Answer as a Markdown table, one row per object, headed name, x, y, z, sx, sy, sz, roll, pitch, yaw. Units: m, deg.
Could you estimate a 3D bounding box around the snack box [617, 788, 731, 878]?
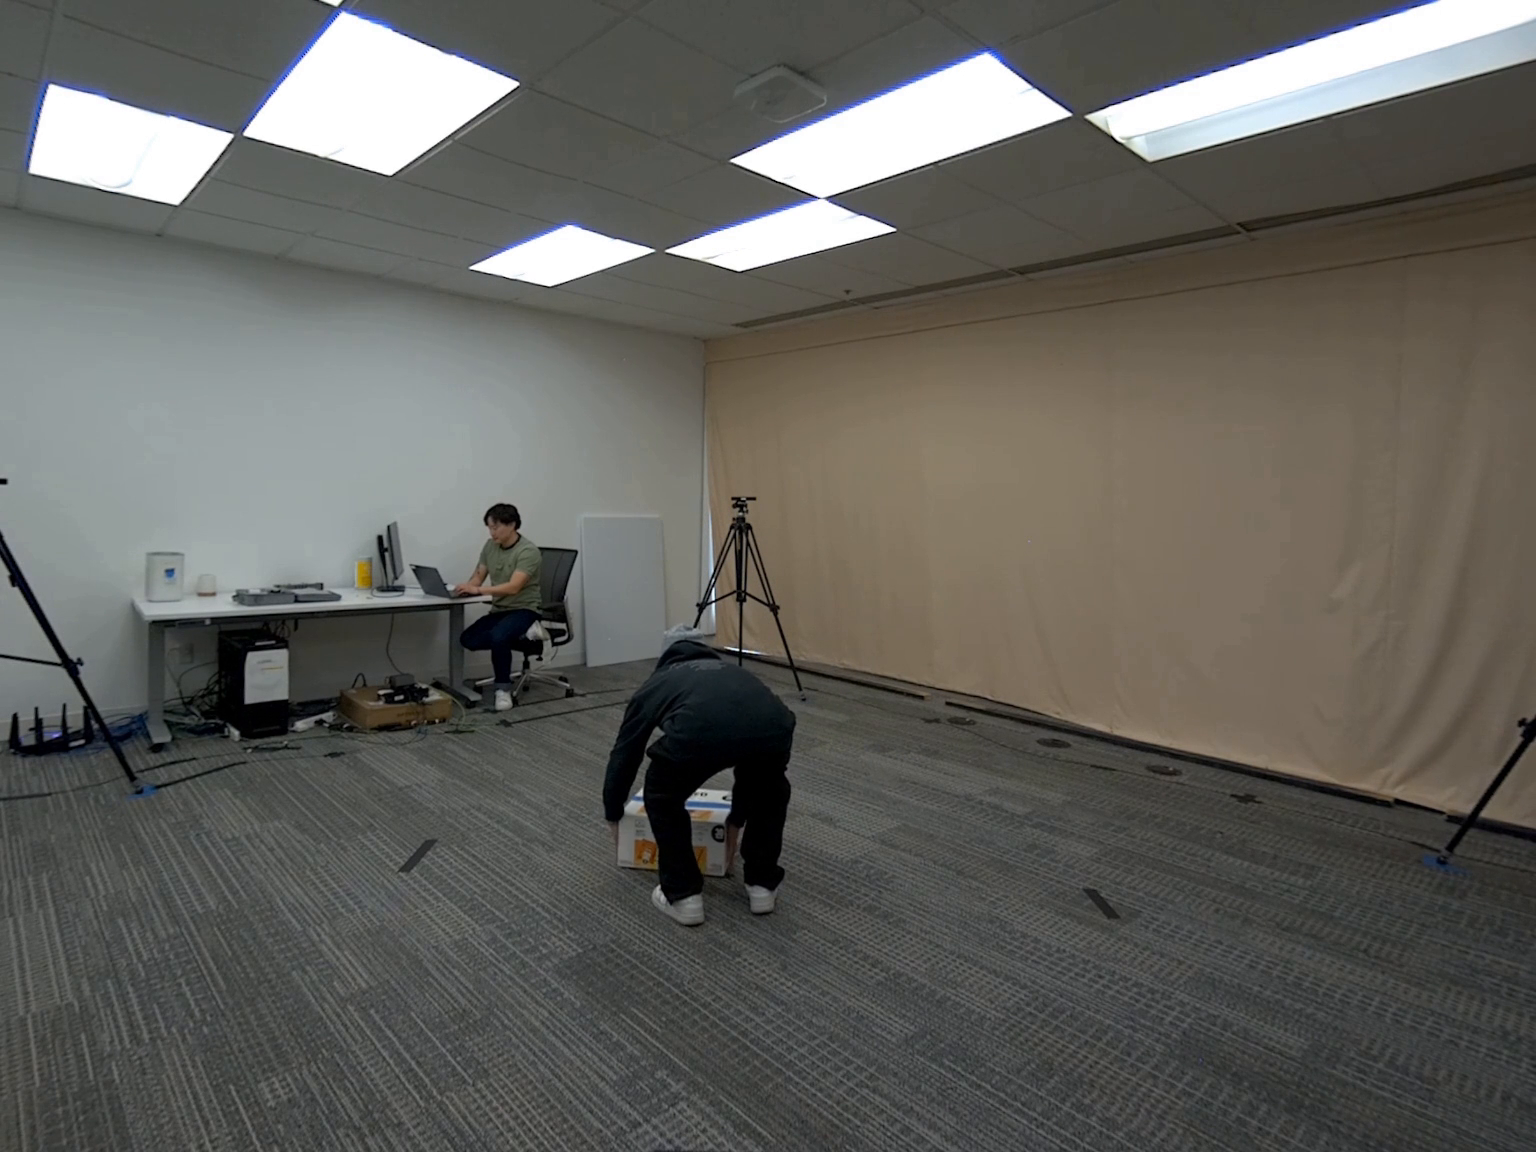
| name | x | y | z | sx | sy | sz | roll | pitch | yaw |
| --- | --- | --- | --- | --- | --- | --- | --- | --- | --- |
| snack box | -0.340 | 0.979 | 3.274 | 0.408 | 0.205 | 0.339 | 2 | 5 | 9 |
